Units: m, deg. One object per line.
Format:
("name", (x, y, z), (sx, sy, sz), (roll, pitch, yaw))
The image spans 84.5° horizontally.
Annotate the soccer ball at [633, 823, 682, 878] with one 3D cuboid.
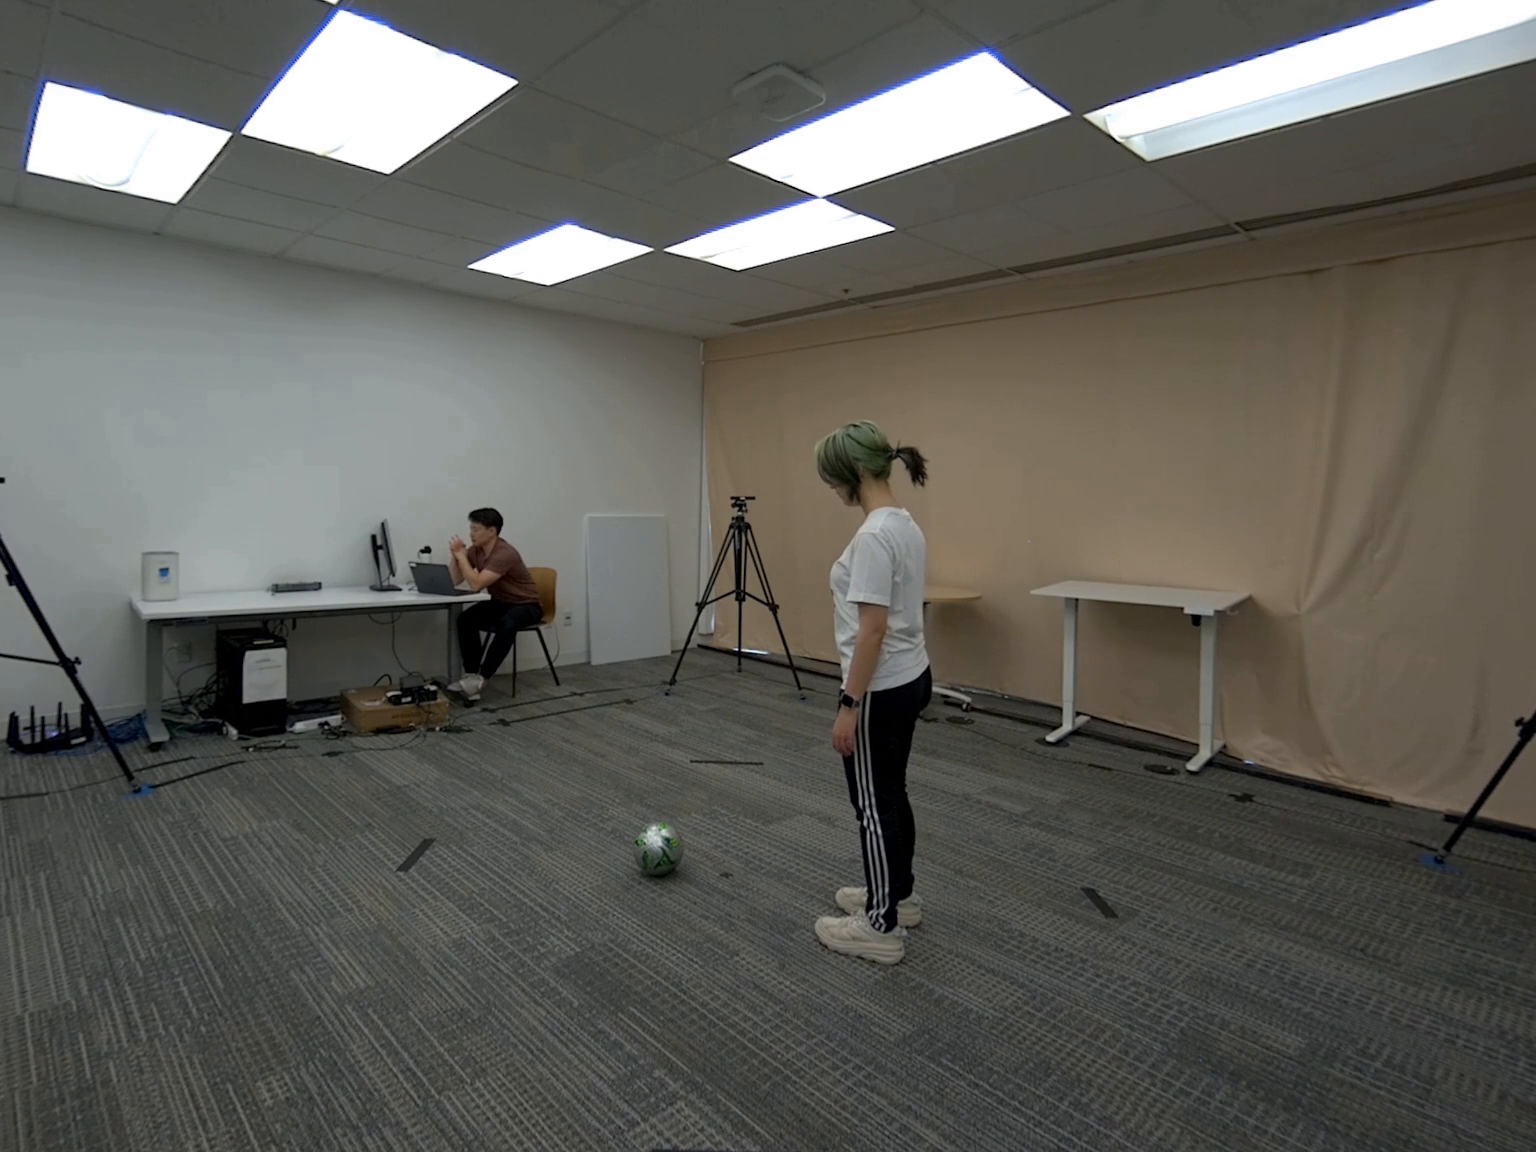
("soccer ball", (-0.409, 1.004, 3.106), (0.187, 0.187, 0.188), (1, 4, -1))
